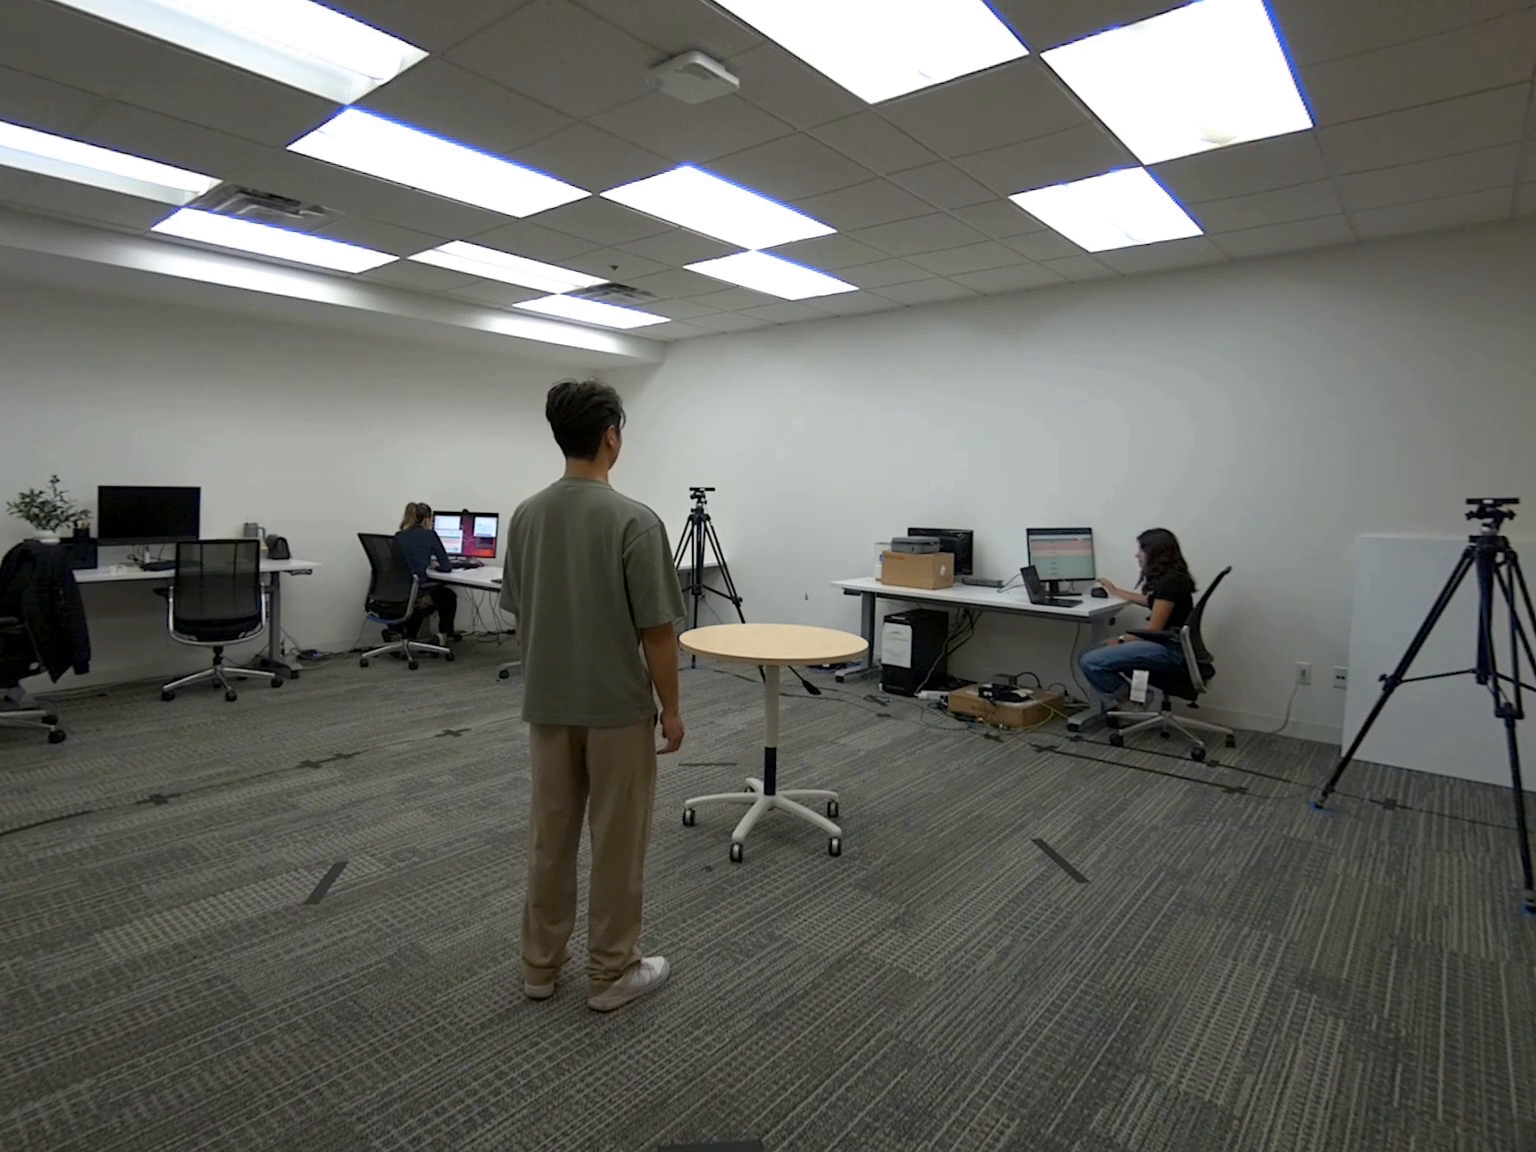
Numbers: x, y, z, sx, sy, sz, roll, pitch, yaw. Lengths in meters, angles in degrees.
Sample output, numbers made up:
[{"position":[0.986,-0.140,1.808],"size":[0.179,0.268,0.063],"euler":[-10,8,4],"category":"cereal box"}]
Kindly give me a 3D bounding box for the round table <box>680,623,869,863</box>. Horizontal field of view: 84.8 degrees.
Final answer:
[{"position":[-0.012,0.642,3.484],"size":[0.784,0.784,0.789],"euler":[1,4,-2],"category":"round table"}]
